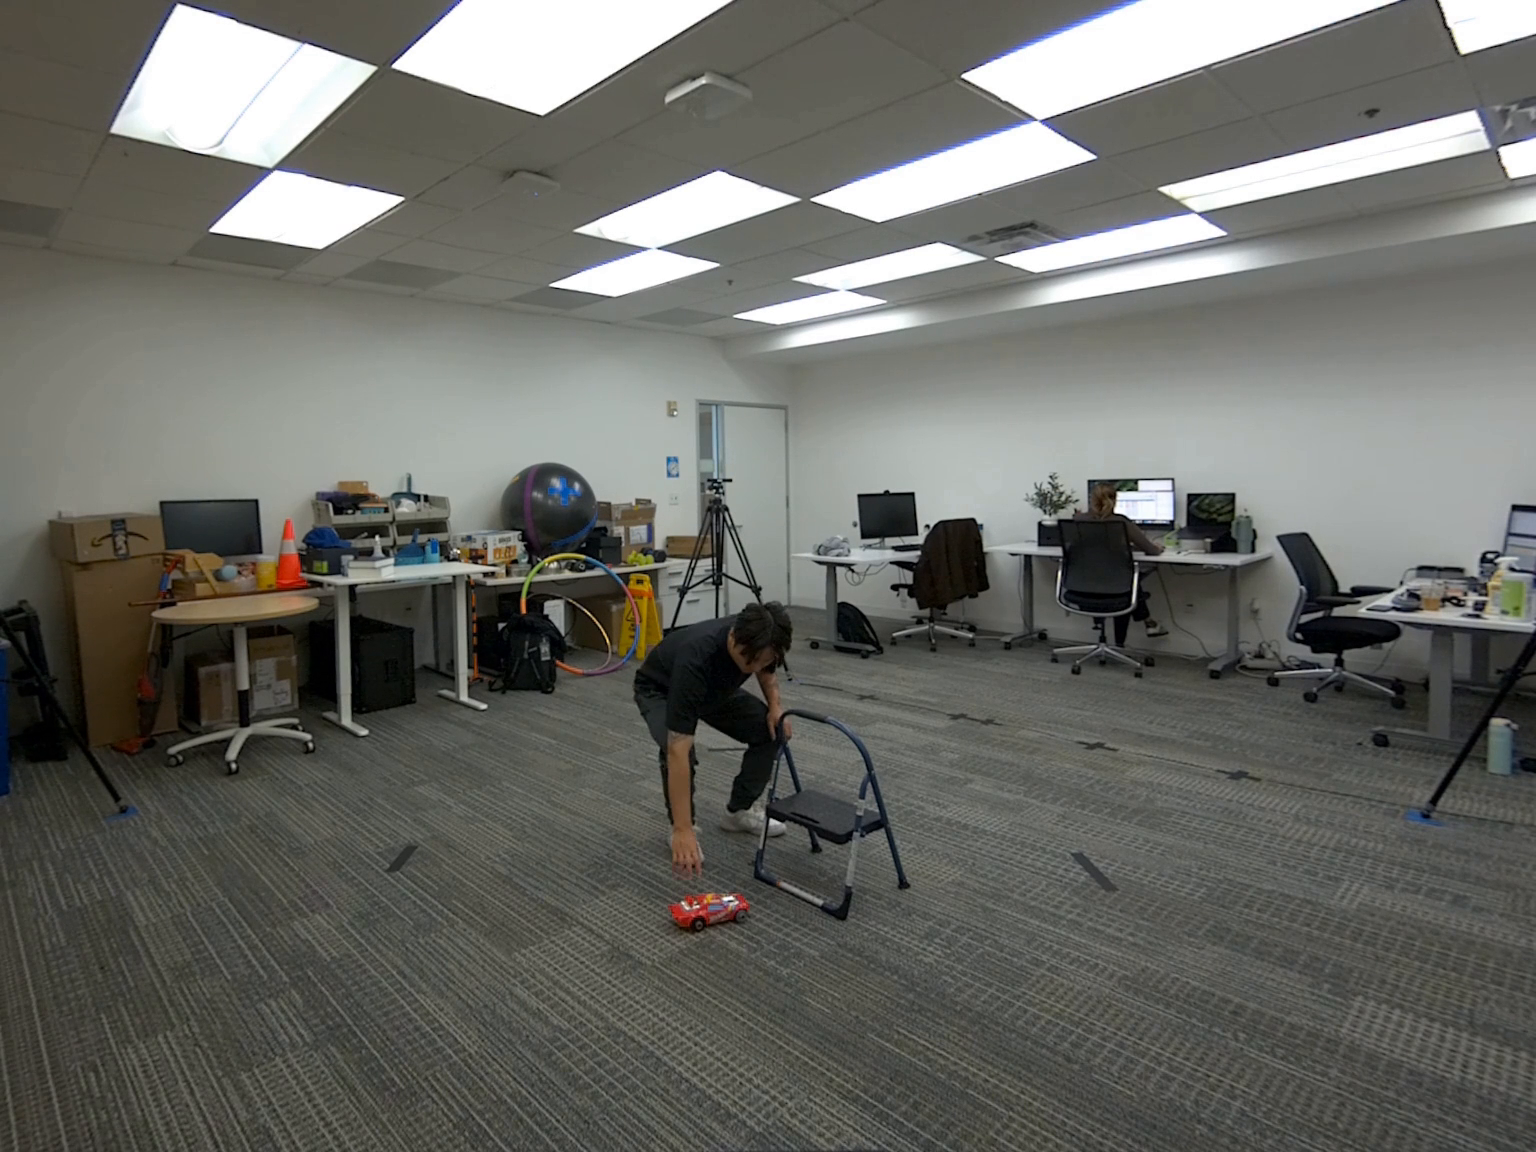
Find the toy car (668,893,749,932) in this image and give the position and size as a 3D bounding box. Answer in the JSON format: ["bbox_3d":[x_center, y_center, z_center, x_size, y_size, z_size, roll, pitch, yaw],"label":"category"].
[{"bbox_3d":[-0.192,1.060,2.712,0.249,0.083,0.133,10,1,-21],"label":"toy car"}]
